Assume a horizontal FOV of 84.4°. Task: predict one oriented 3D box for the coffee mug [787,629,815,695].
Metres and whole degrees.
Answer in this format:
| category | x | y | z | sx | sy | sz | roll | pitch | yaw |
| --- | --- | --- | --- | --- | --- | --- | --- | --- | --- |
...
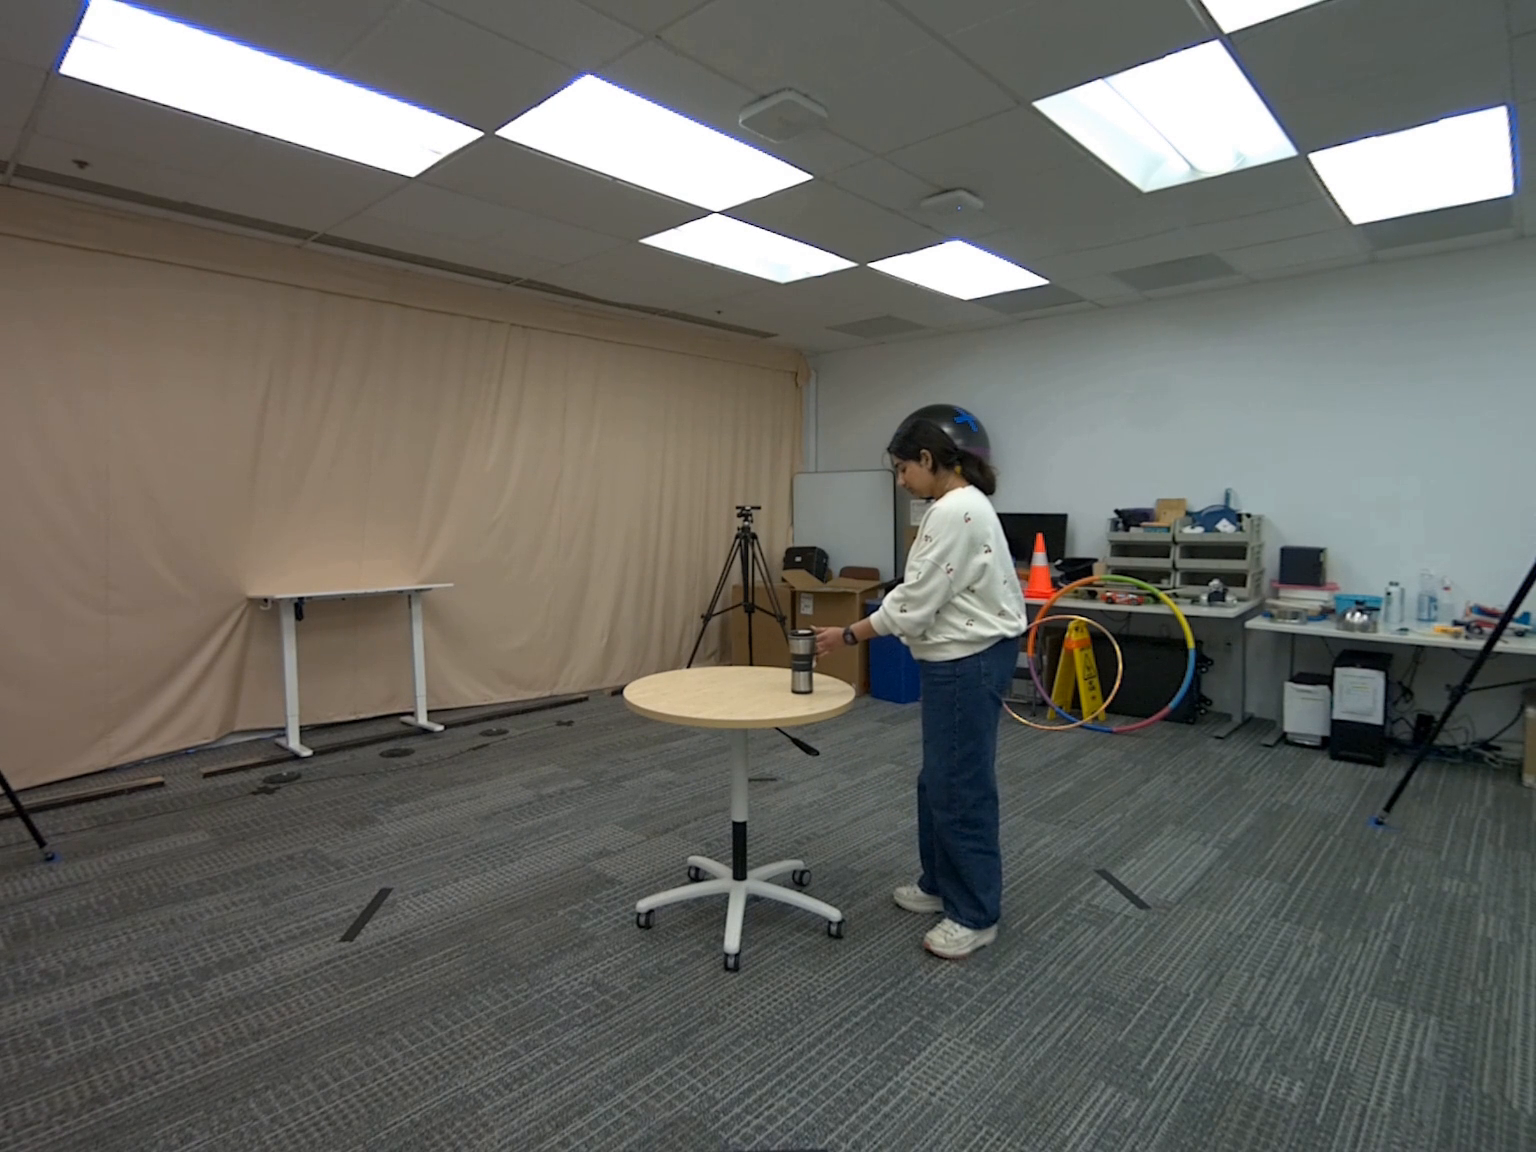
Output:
| category | x | y | z | sx | sy | sz | roll | pitch | yaw |
| --- | --- | --- | --- | --- | --- | --- | --- | --- | --- |
| coffee mug | 0.138 | 0.286 | 2.762 | 0.119 | 0.203 | 0.090 | -2 | 0 | -30 |
